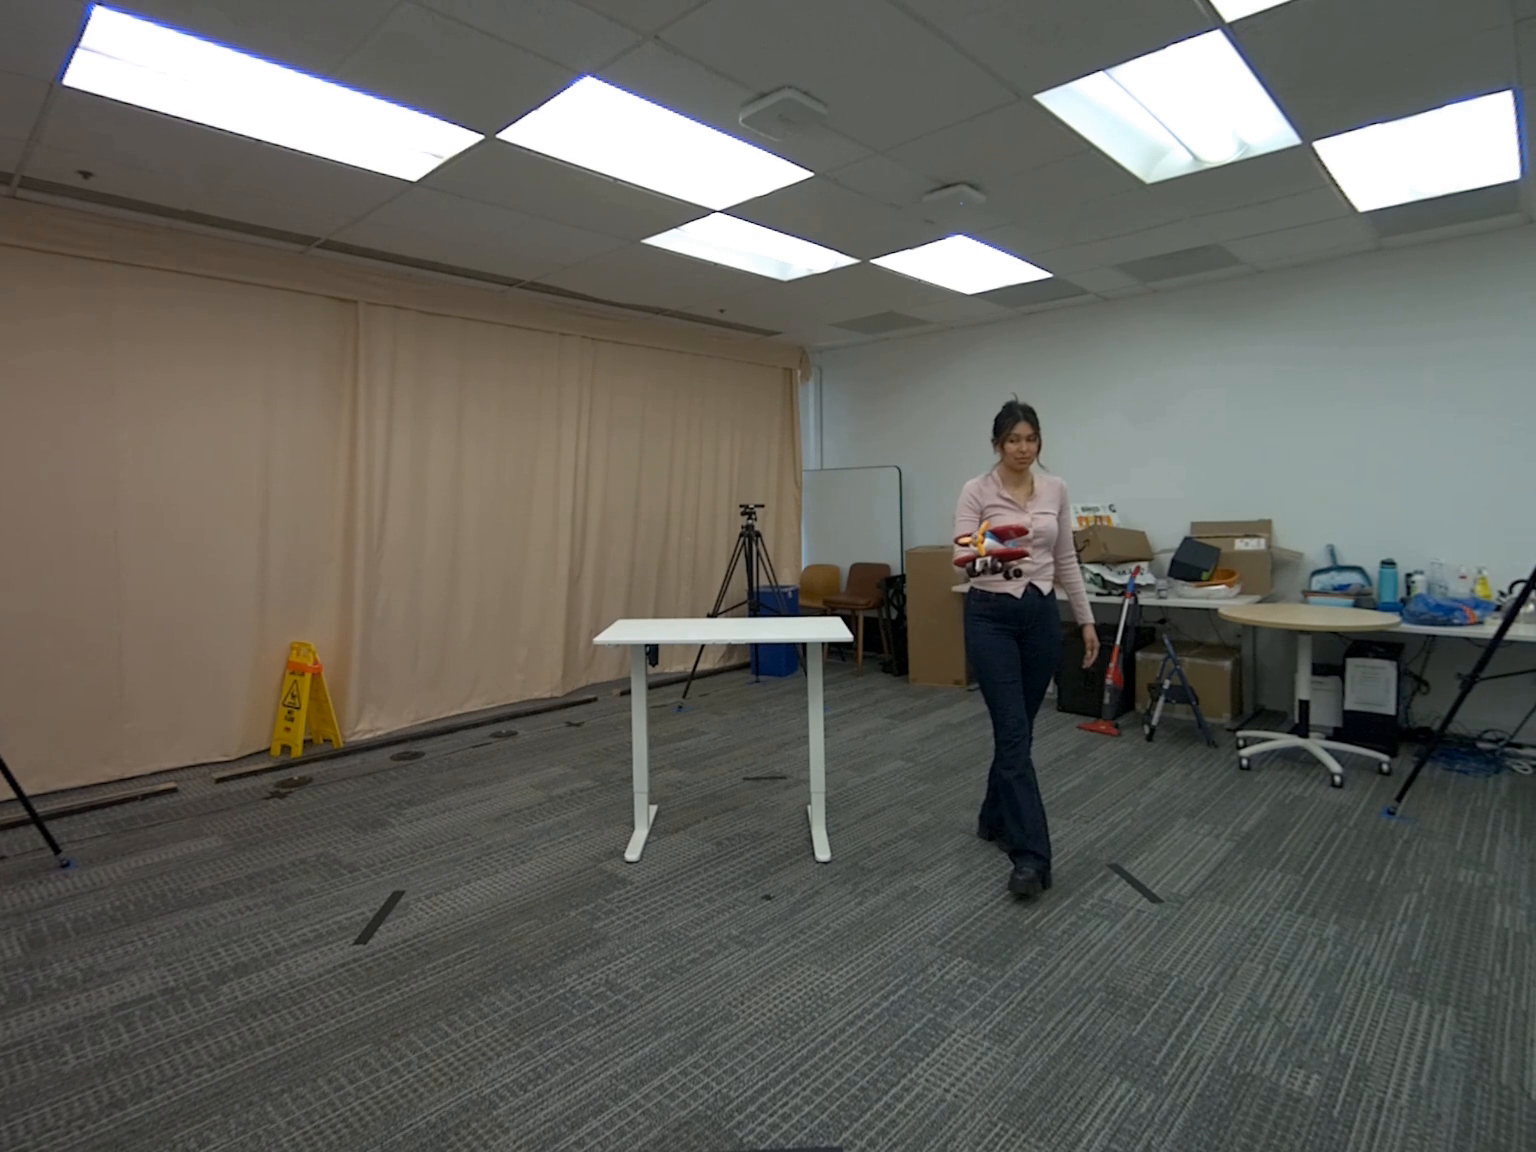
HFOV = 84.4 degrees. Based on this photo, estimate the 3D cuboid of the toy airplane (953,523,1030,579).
[{"bbox_3d":[0.741,-0.069,2.793,0.255,0.157,0.253,-8,-10,17],"label":"toy airplane"}]
